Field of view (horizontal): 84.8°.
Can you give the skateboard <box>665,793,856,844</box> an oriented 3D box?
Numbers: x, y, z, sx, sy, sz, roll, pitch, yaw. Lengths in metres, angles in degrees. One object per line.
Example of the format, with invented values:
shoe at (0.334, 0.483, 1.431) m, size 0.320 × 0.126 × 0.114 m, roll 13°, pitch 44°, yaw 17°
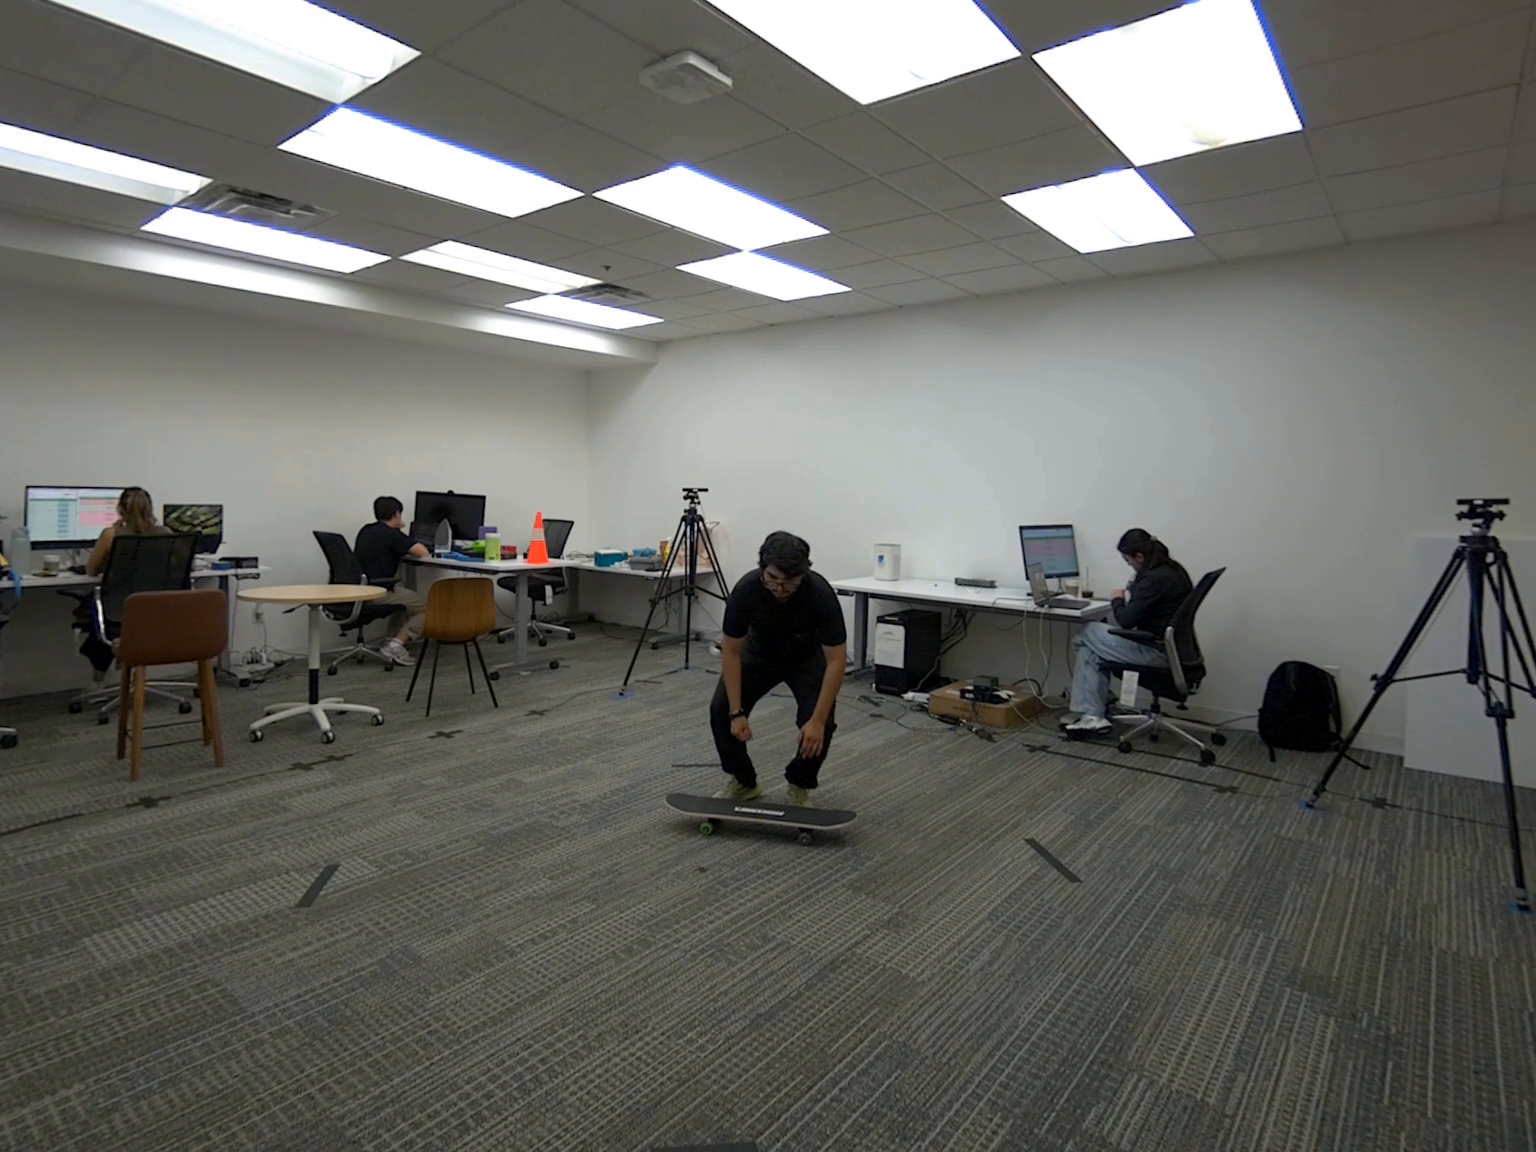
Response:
skateboard at (-0.047, 0.983, 3.454) m, size 0.796 × 0.110 × 0.191 m, roll 3°, pitch 5°, yaw 12°
